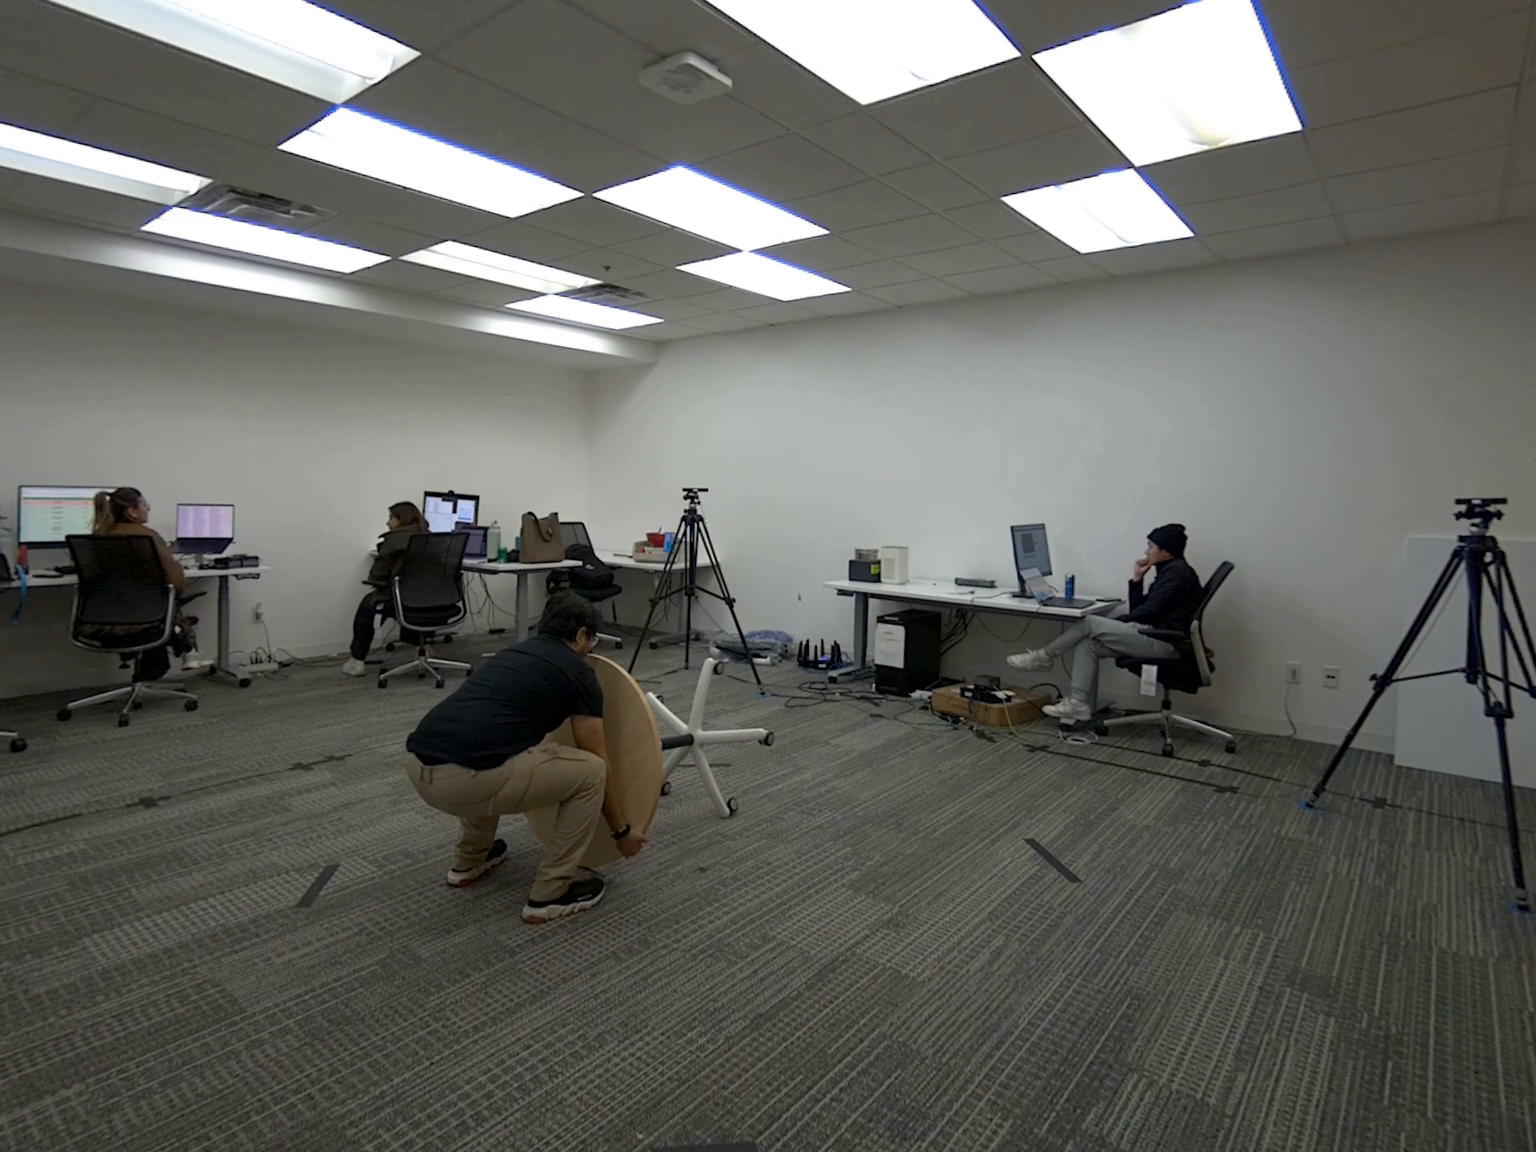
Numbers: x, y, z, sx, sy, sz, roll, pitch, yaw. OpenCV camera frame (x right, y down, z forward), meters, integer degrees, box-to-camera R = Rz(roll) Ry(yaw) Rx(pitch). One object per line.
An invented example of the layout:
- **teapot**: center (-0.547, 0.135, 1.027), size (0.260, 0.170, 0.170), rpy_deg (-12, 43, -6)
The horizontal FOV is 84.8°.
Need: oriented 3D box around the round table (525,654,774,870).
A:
- **round table**: center (-0.489, 0.698, 3.464), size (0.810, 0.787, 0.760), rpy_deg (4, -2, 36)
